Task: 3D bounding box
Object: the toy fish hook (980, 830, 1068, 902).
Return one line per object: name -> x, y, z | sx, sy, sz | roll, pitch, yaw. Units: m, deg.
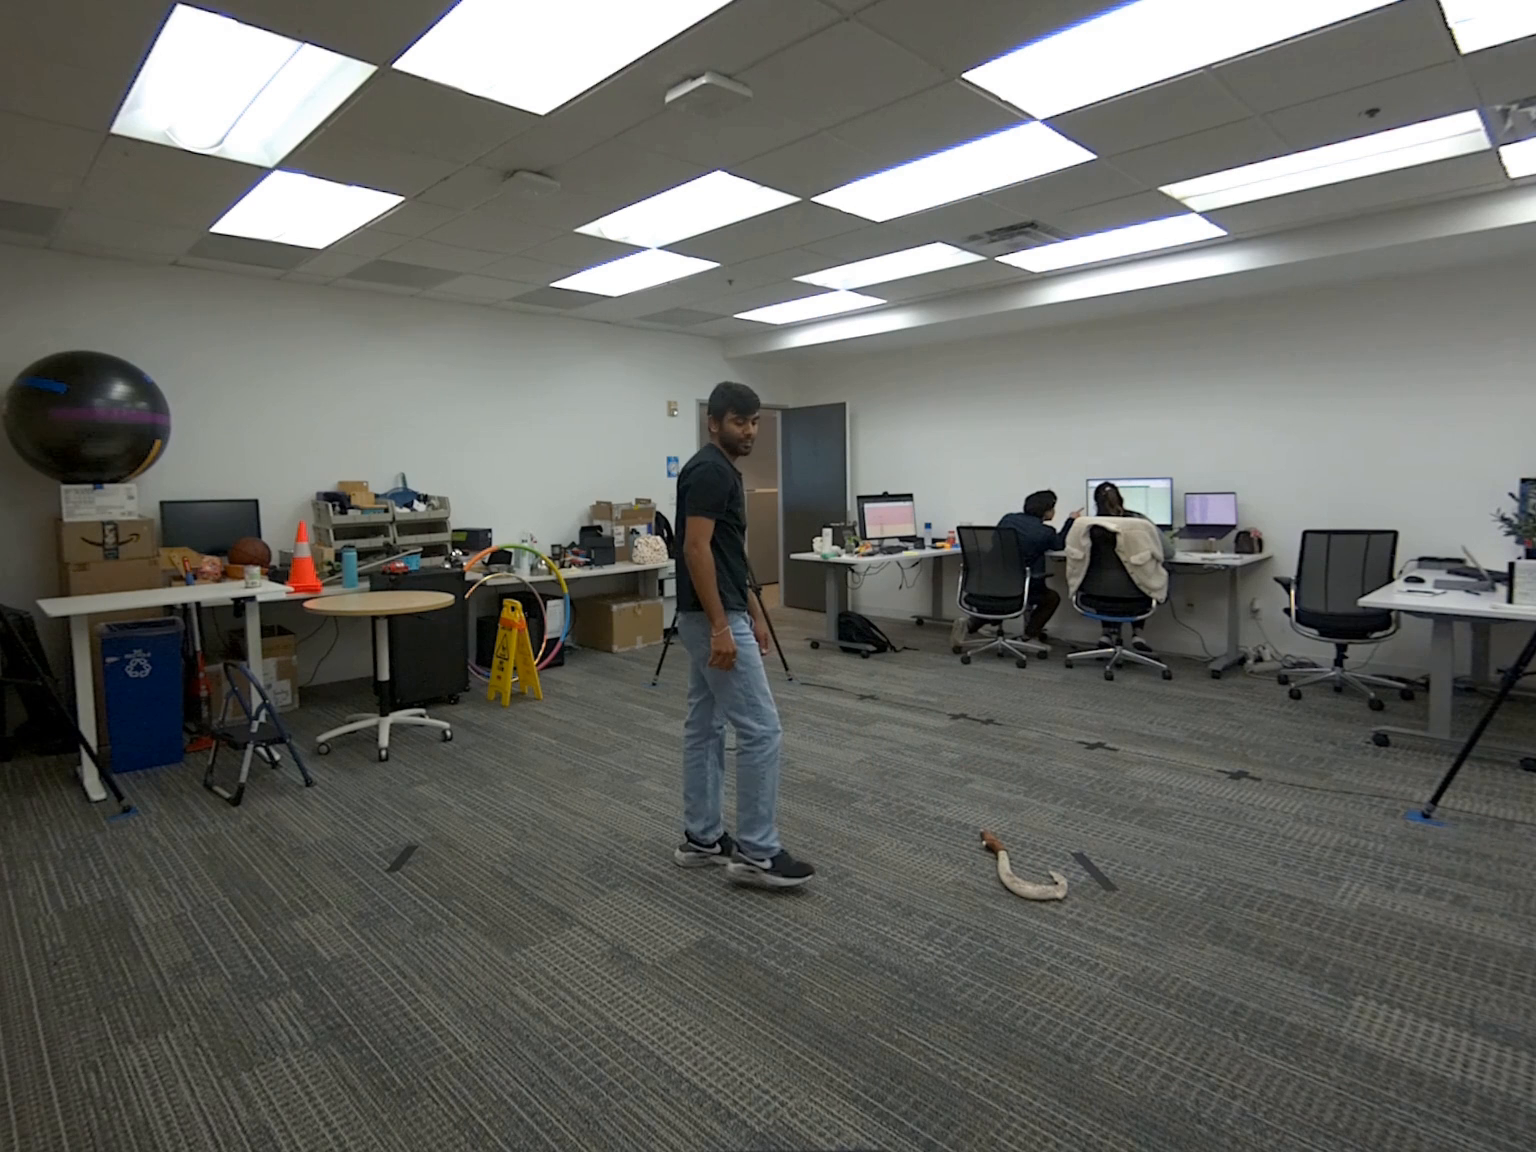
toy fish hook -> 0.901, 1.018, 3.041 | 0.224, 0.048, 0.510 | 5, 7, -3
